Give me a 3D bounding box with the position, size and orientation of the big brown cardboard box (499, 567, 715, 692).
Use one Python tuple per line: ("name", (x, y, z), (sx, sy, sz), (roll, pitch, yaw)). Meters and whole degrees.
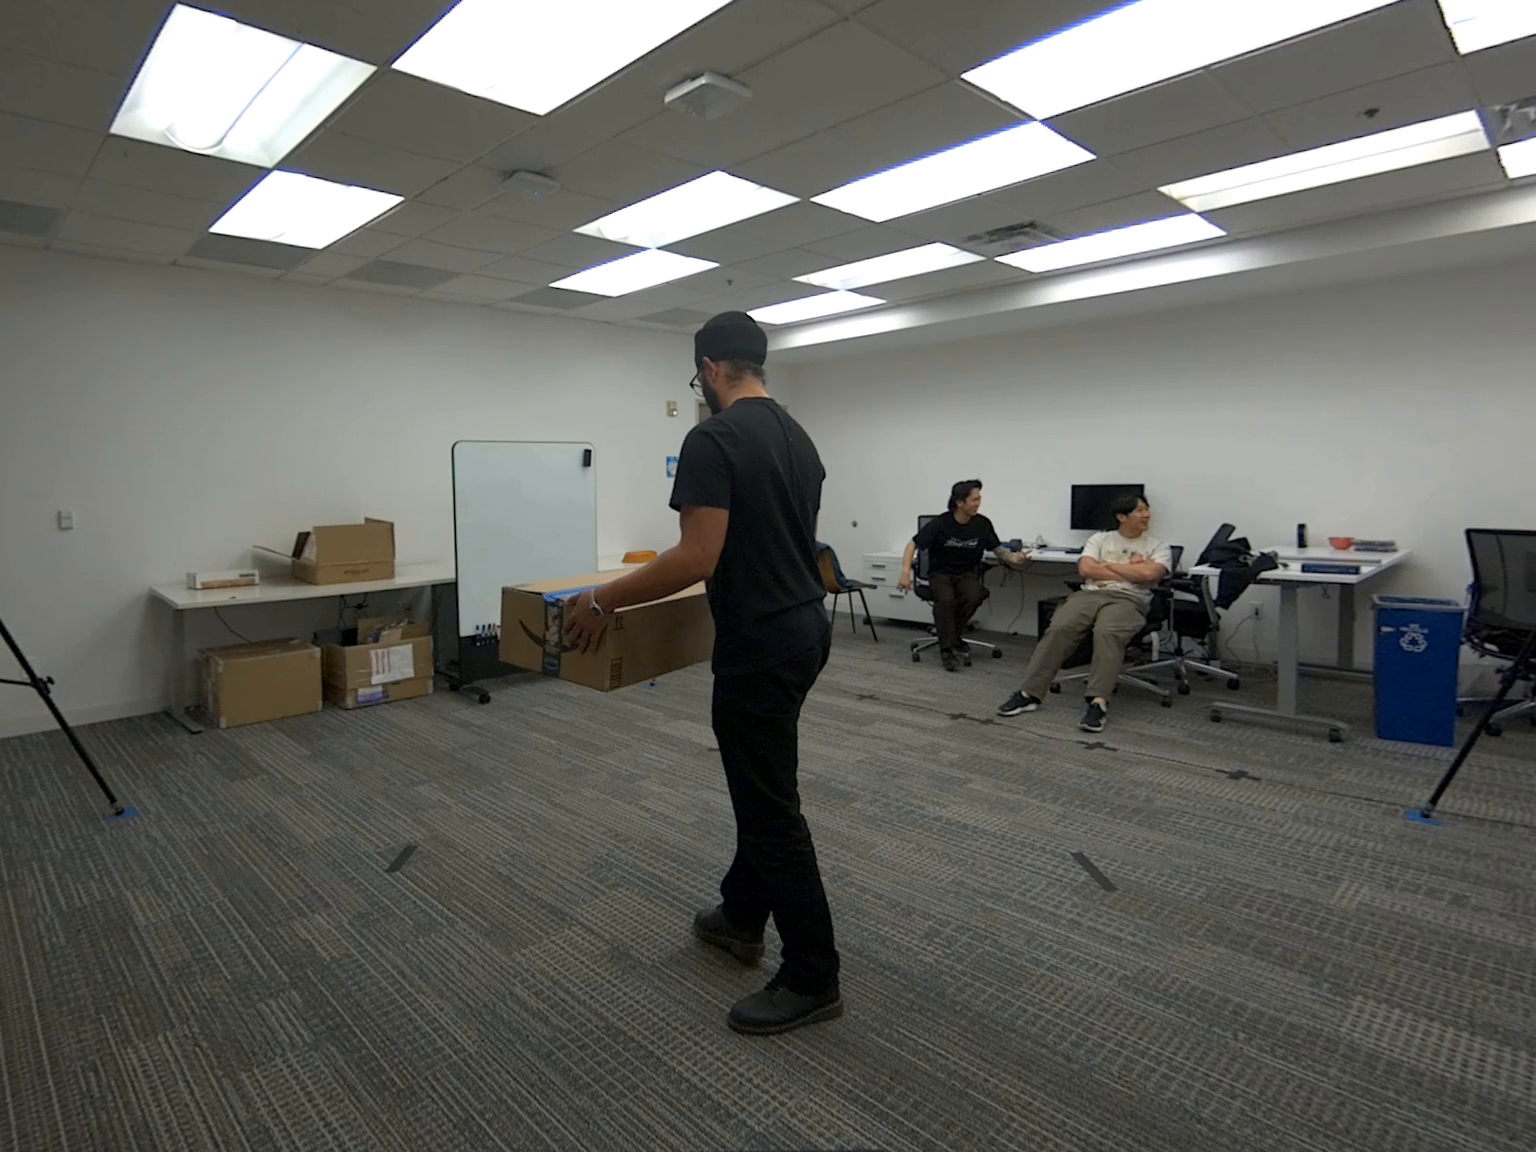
("big brown cardboard box", (-0.428, 0.132, 2.510), (0.430, 0.232, 0.575), (8, 9, 32))
